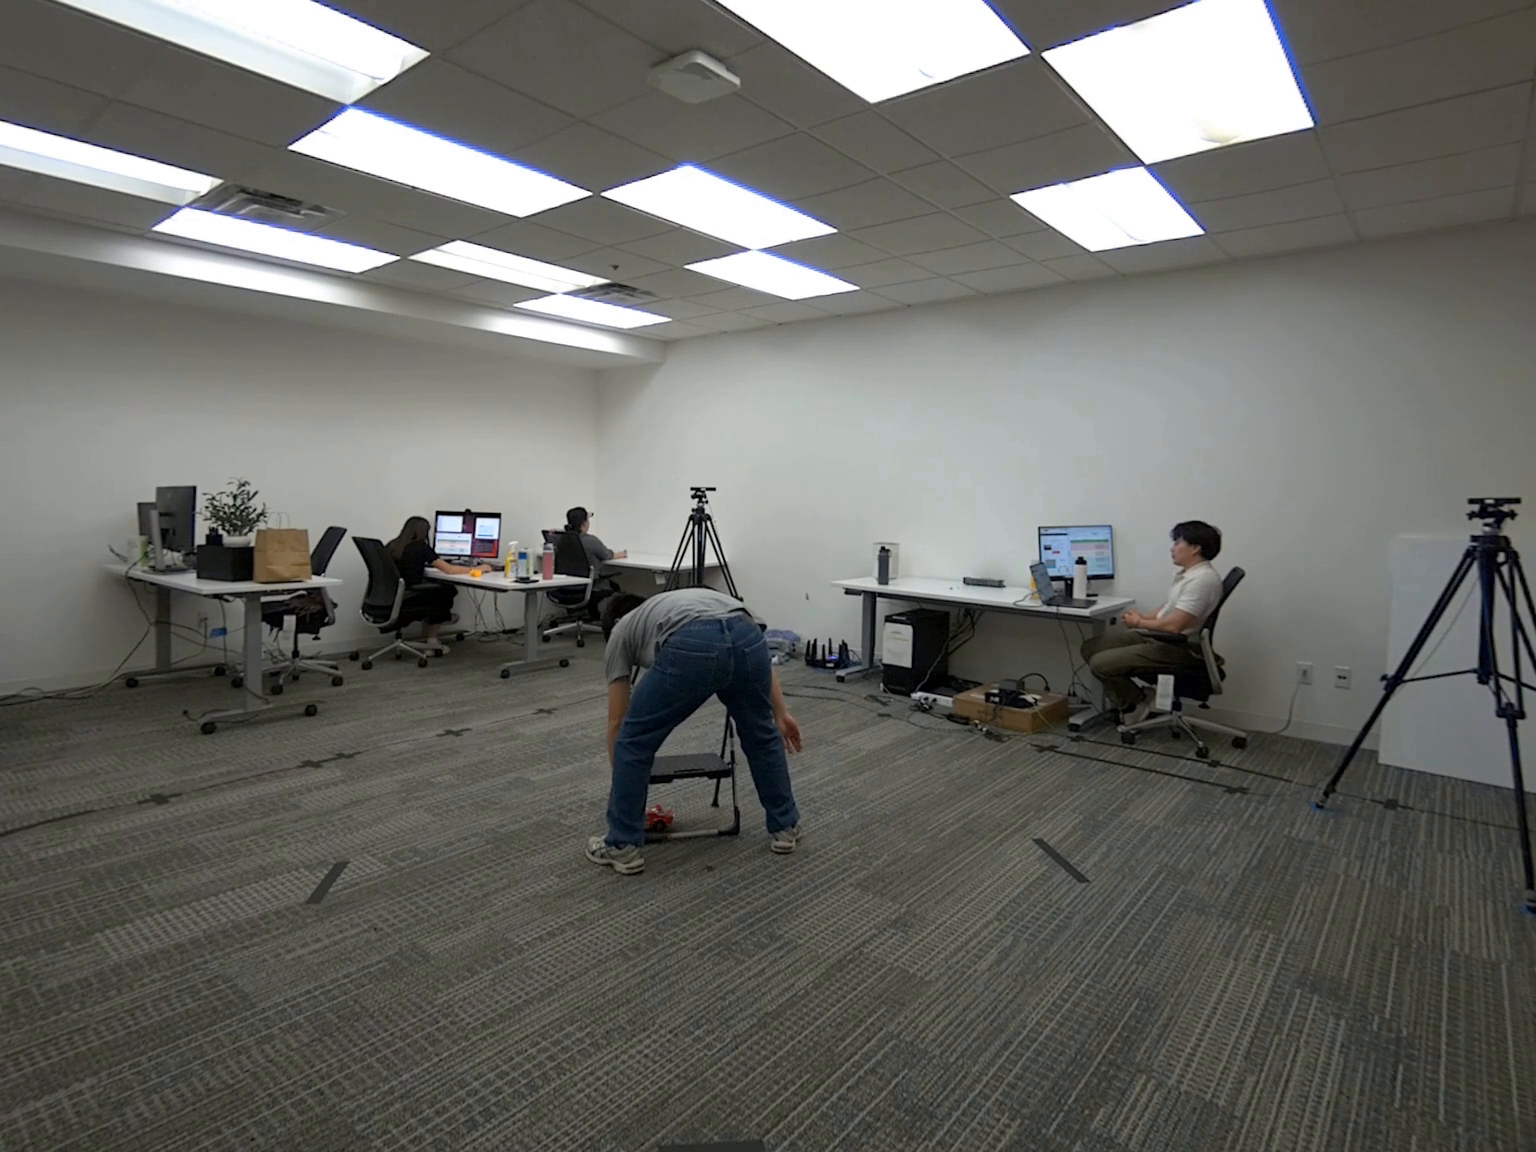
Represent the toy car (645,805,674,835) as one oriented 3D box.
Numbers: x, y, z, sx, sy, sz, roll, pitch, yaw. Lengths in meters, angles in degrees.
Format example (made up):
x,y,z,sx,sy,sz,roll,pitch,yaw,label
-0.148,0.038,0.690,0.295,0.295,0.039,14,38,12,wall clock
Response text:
x,y,z,sx,sy,sz,roll,pitch,yaw,label
-0.516,0.995,3.464,0.251,0.082,0.133,-11,8,-17,toy car
